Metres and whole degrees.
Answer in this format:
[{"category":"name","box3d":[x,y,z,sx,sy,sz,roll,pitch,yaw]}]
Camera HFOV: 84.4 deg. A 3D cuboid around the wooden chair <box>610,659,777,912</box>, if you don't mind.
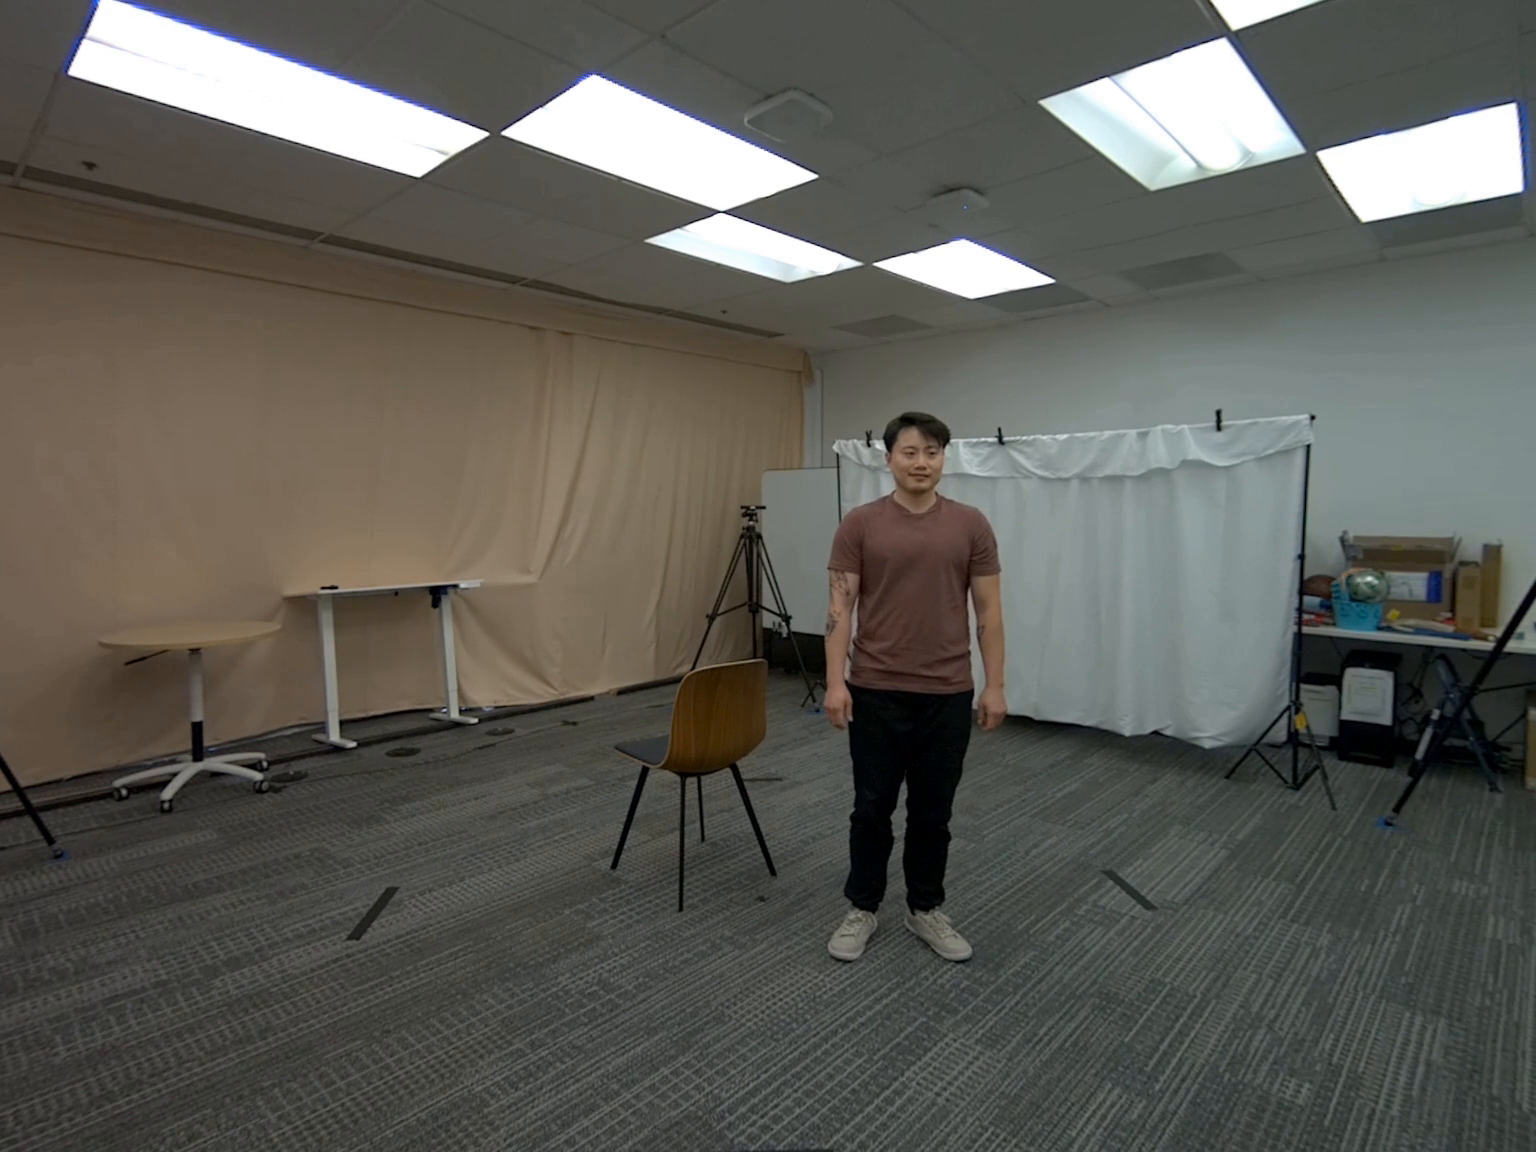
[{"category":"wooden chair","box3d":[-0.291,0.699,3.178,0.463,0.874,0.541,-3,9,-40]}]
